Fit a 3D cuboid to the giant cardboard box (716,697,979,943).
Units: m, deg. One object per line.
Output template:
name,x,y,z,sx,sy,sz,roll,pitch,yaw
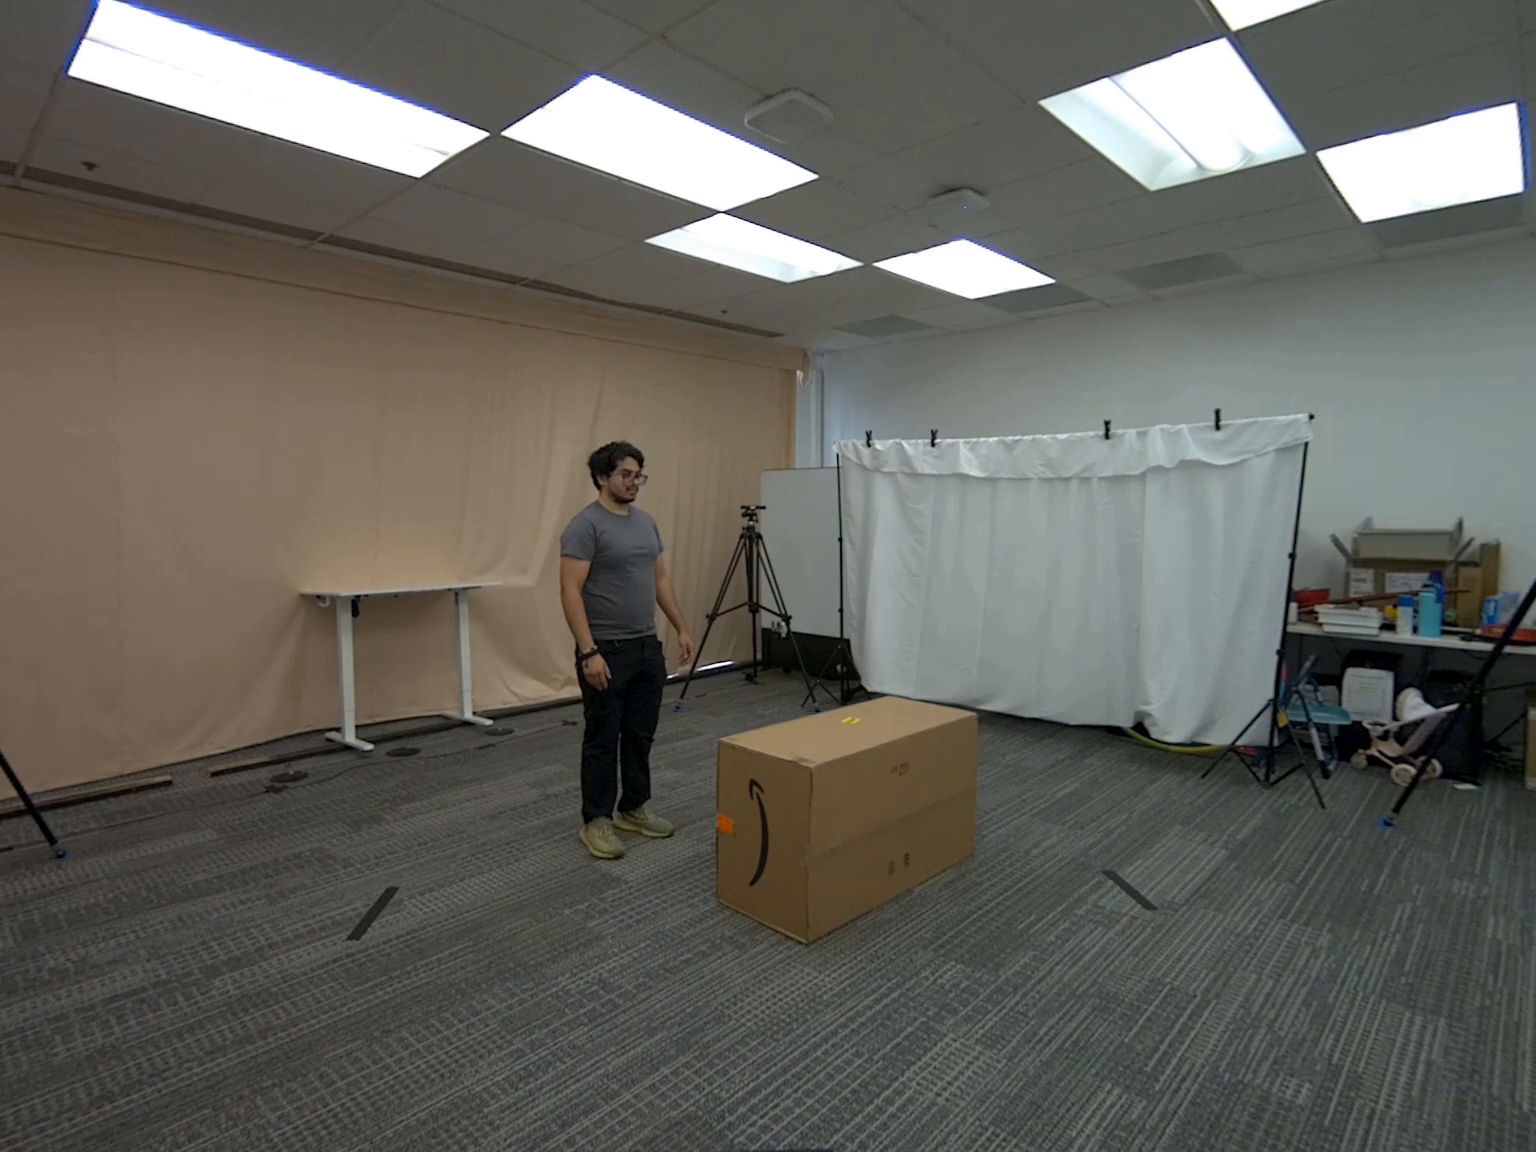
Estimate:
giant cardboard box,0.326,0.844,3.143,0.994,0.576,0.440,-4,5,-44
